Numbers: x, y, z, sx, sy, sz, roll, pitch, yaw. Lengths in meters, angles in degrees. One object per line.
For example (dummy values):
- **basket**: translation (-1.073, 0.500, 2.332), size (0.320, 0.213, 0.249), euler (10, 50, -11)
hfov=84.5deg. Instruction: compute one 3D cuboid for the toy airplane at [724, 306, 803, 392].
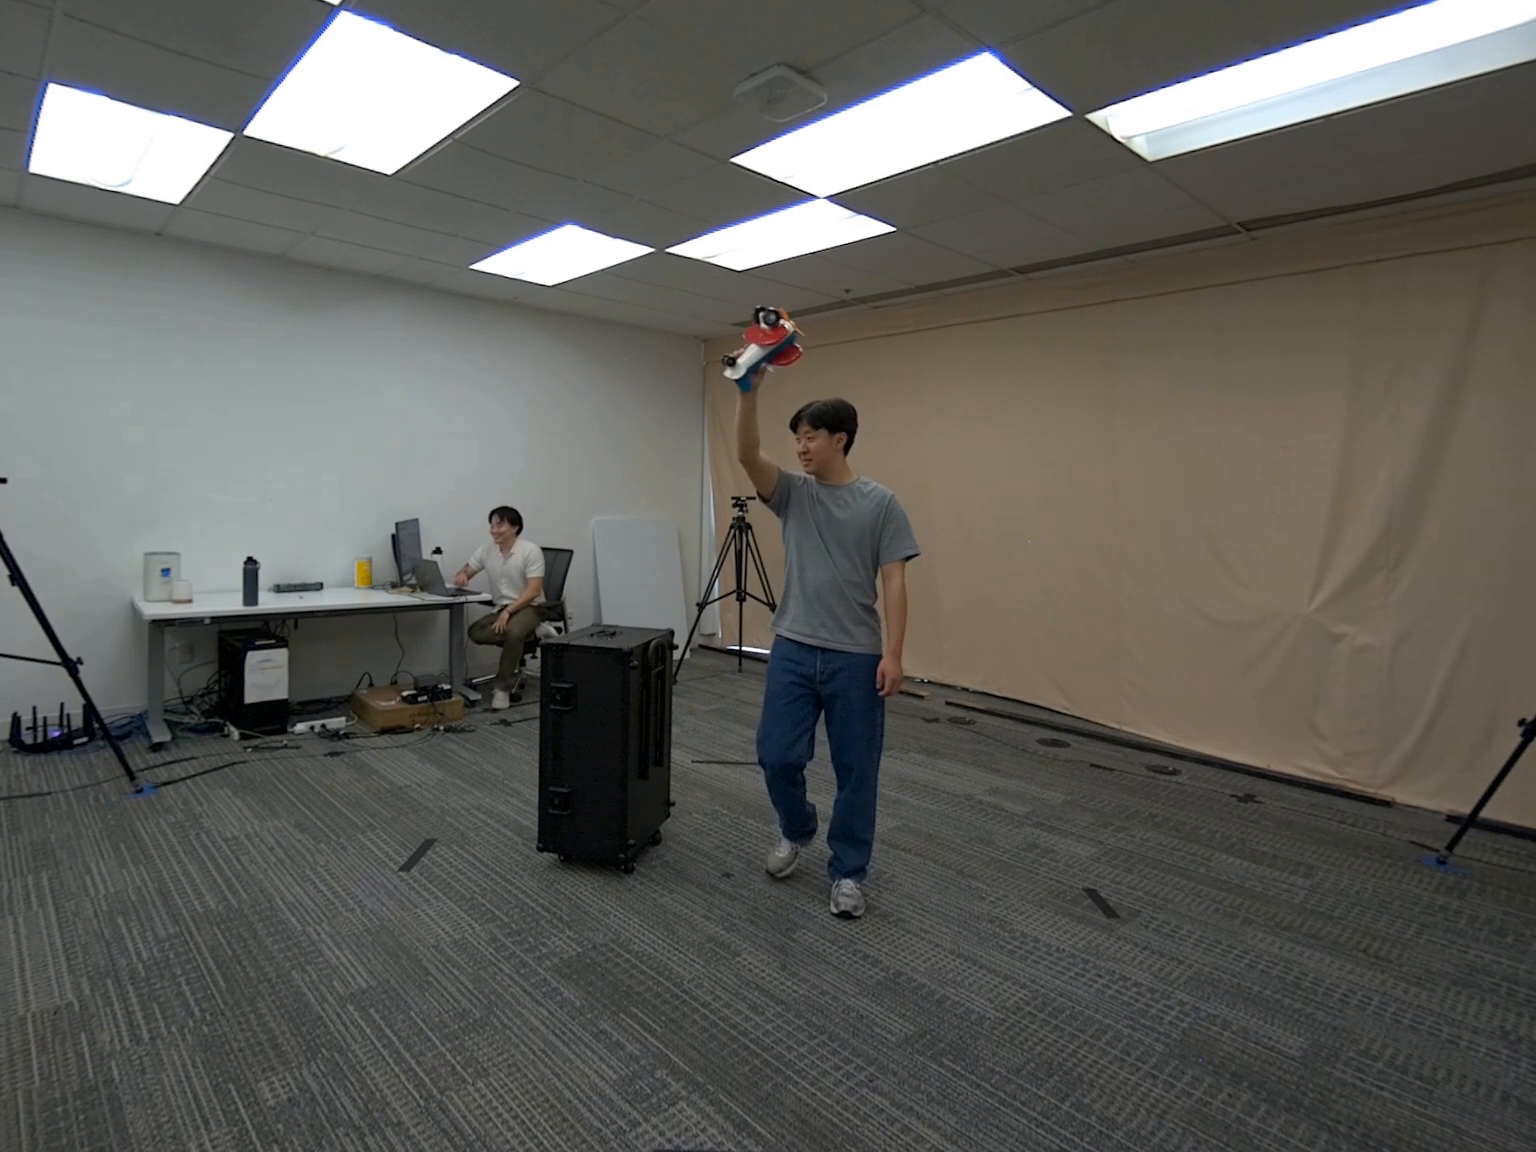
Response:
- **toy airplane**: translation (-0.037, -0.709, 2.618), size (0.260, 0.257, 0.152), euler (-38, -57, 26)
